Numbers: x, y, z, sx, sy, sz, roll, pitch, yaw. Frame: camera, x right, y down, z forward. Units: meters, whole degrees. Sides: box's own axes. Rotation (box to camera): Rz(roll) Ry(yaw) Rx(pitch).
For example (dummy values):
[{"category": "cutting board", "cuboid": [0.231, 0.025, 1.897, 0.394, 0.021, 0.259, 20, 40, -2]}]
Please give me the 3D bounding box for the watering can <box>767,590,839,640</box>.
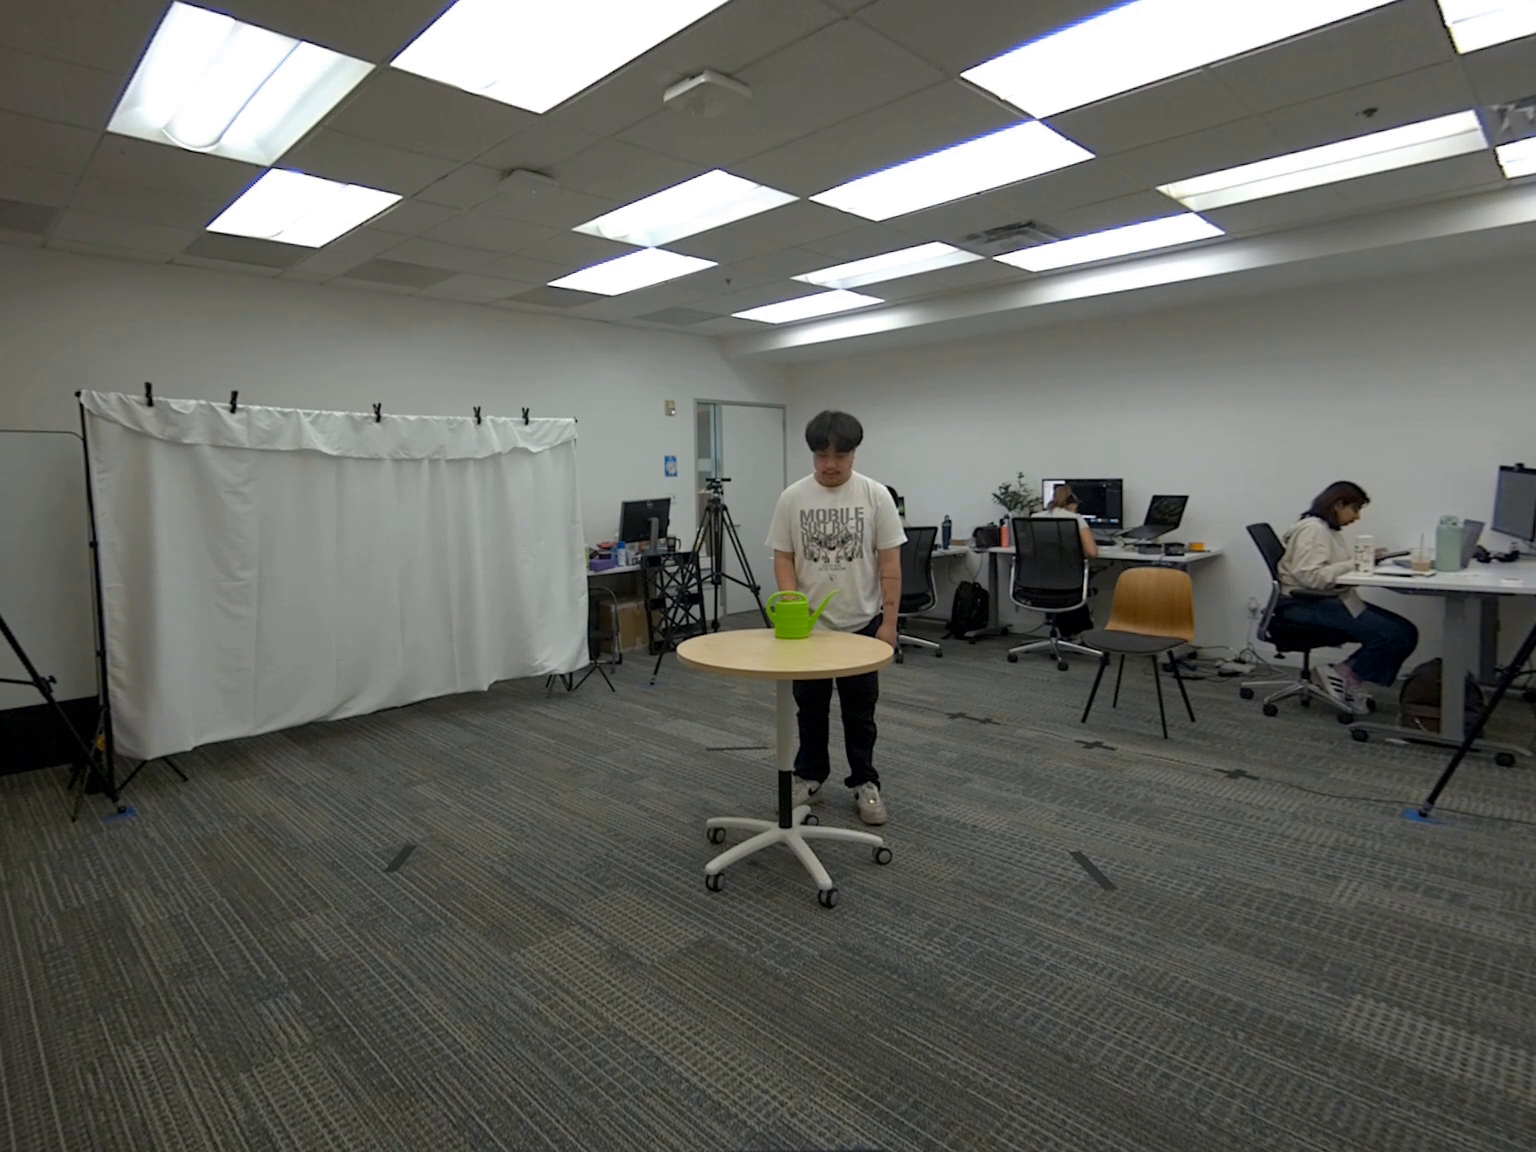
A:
[{"category": "watering can", "cuboid": [0.137, 0.151, 3.232, 0.280, 0.176, 0.097, 0, 5, 8]}]
